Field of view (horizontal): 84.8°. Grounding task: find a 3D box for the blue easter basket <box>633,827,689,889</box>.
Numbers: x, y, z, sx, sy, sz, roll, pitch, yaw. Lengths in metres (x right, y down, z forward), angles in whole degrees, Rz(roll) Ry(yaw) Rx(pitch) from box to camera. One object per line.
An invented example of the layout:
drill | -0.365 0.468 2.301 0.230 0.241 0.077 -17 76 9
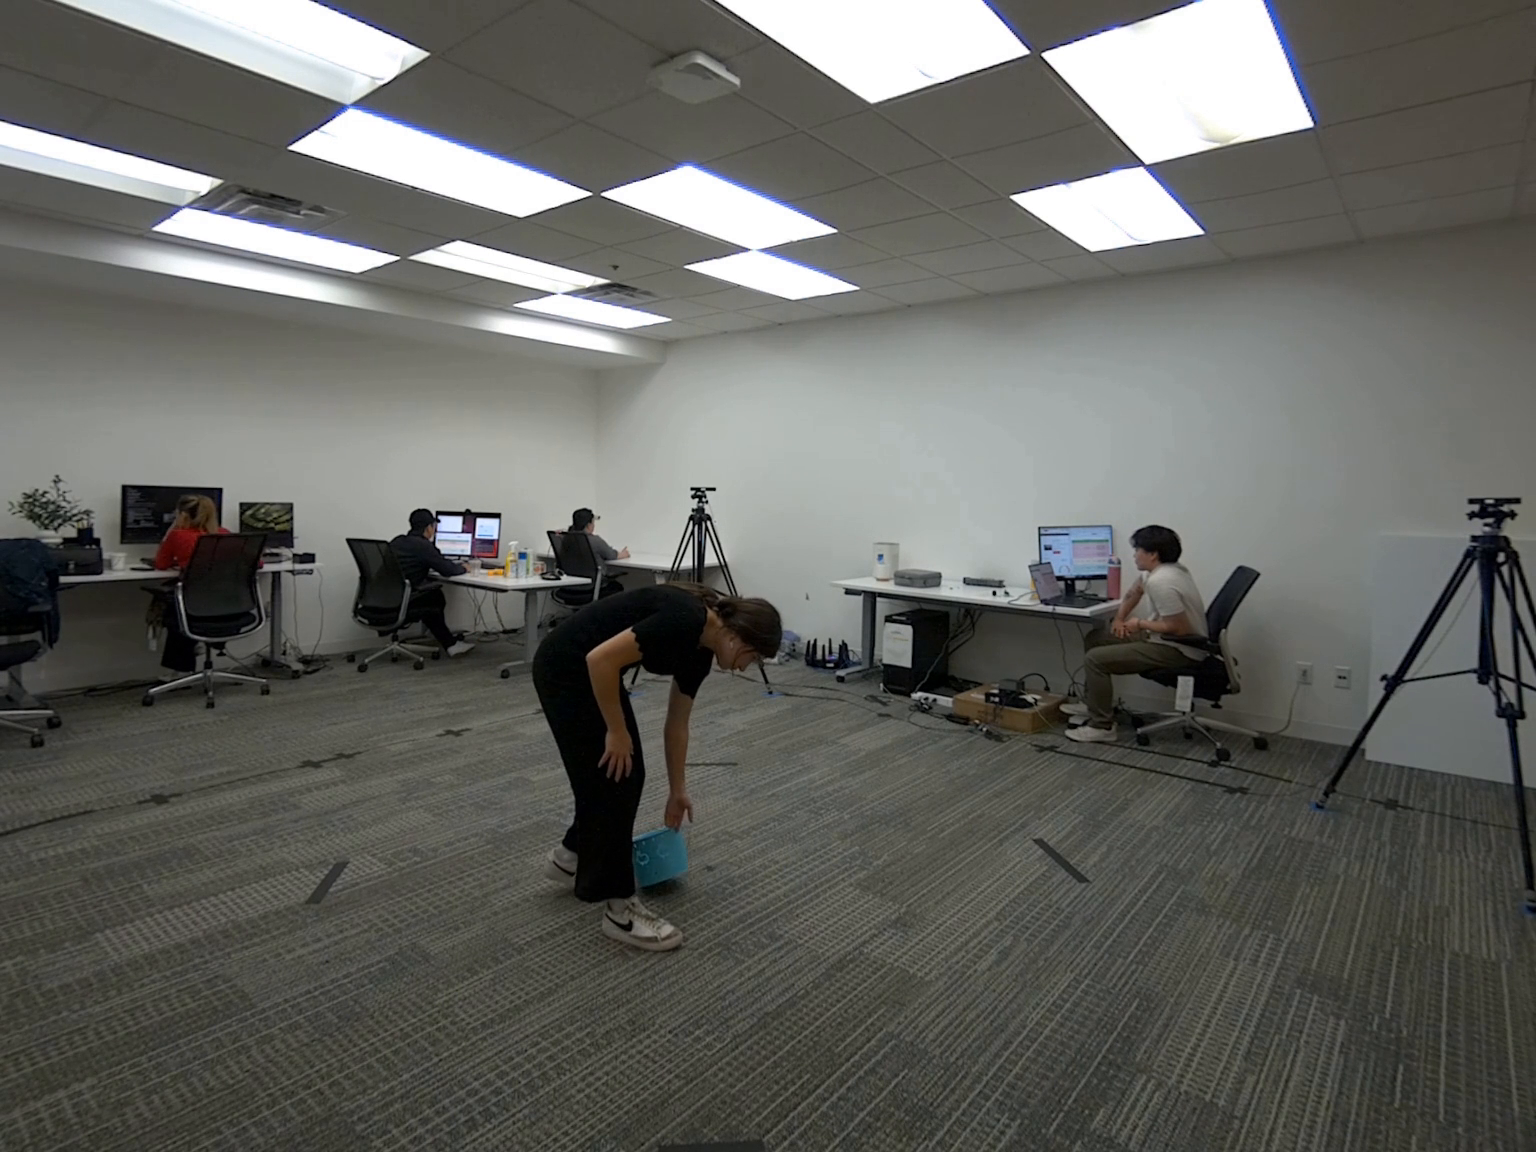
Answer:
blue easter basket | -0.392 0.972 2.963 0.243 0.158 0.241 -16 -11 -5
